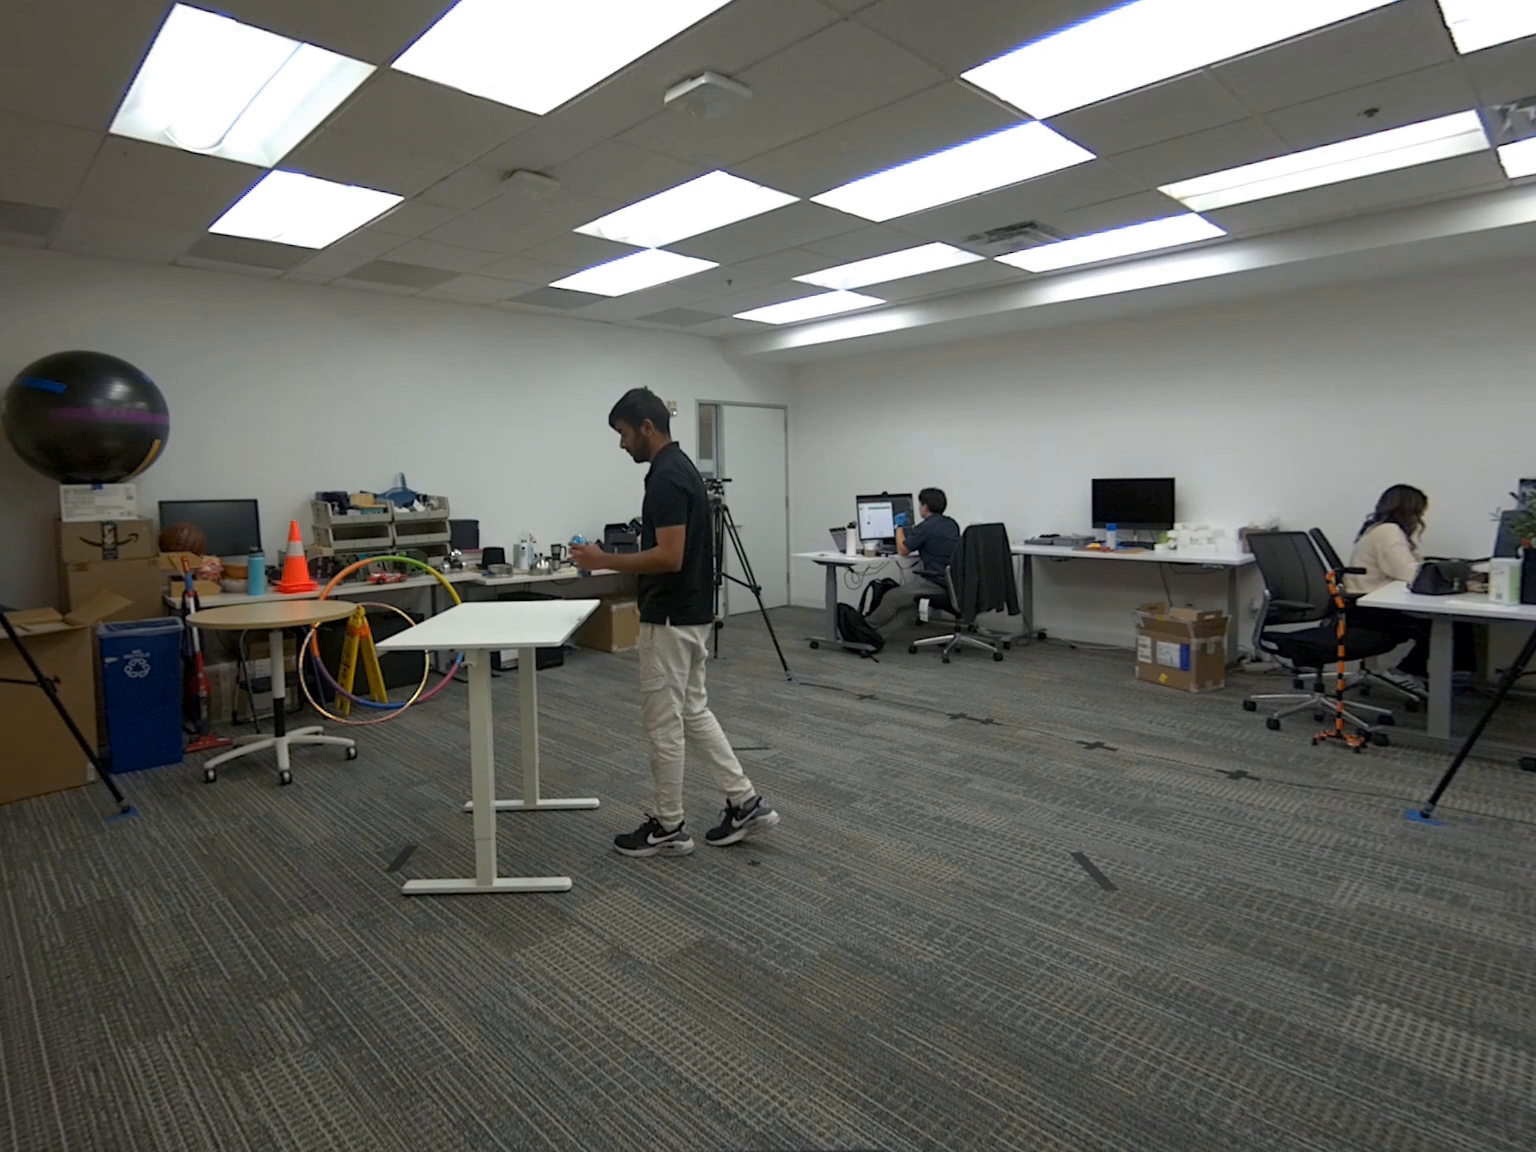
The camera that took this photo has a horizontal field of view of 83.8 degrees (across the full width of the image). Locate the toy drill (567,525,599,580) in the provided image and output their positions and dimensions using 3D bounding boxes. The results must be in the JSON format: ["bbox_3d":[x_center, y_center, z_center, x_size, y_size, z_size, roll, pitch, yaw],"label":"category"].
[{"bbox_3d":[-0.679,-0.089,3.133,0.060,0.143,0.175,-13,20,-17],"label":"toy drill"}]
